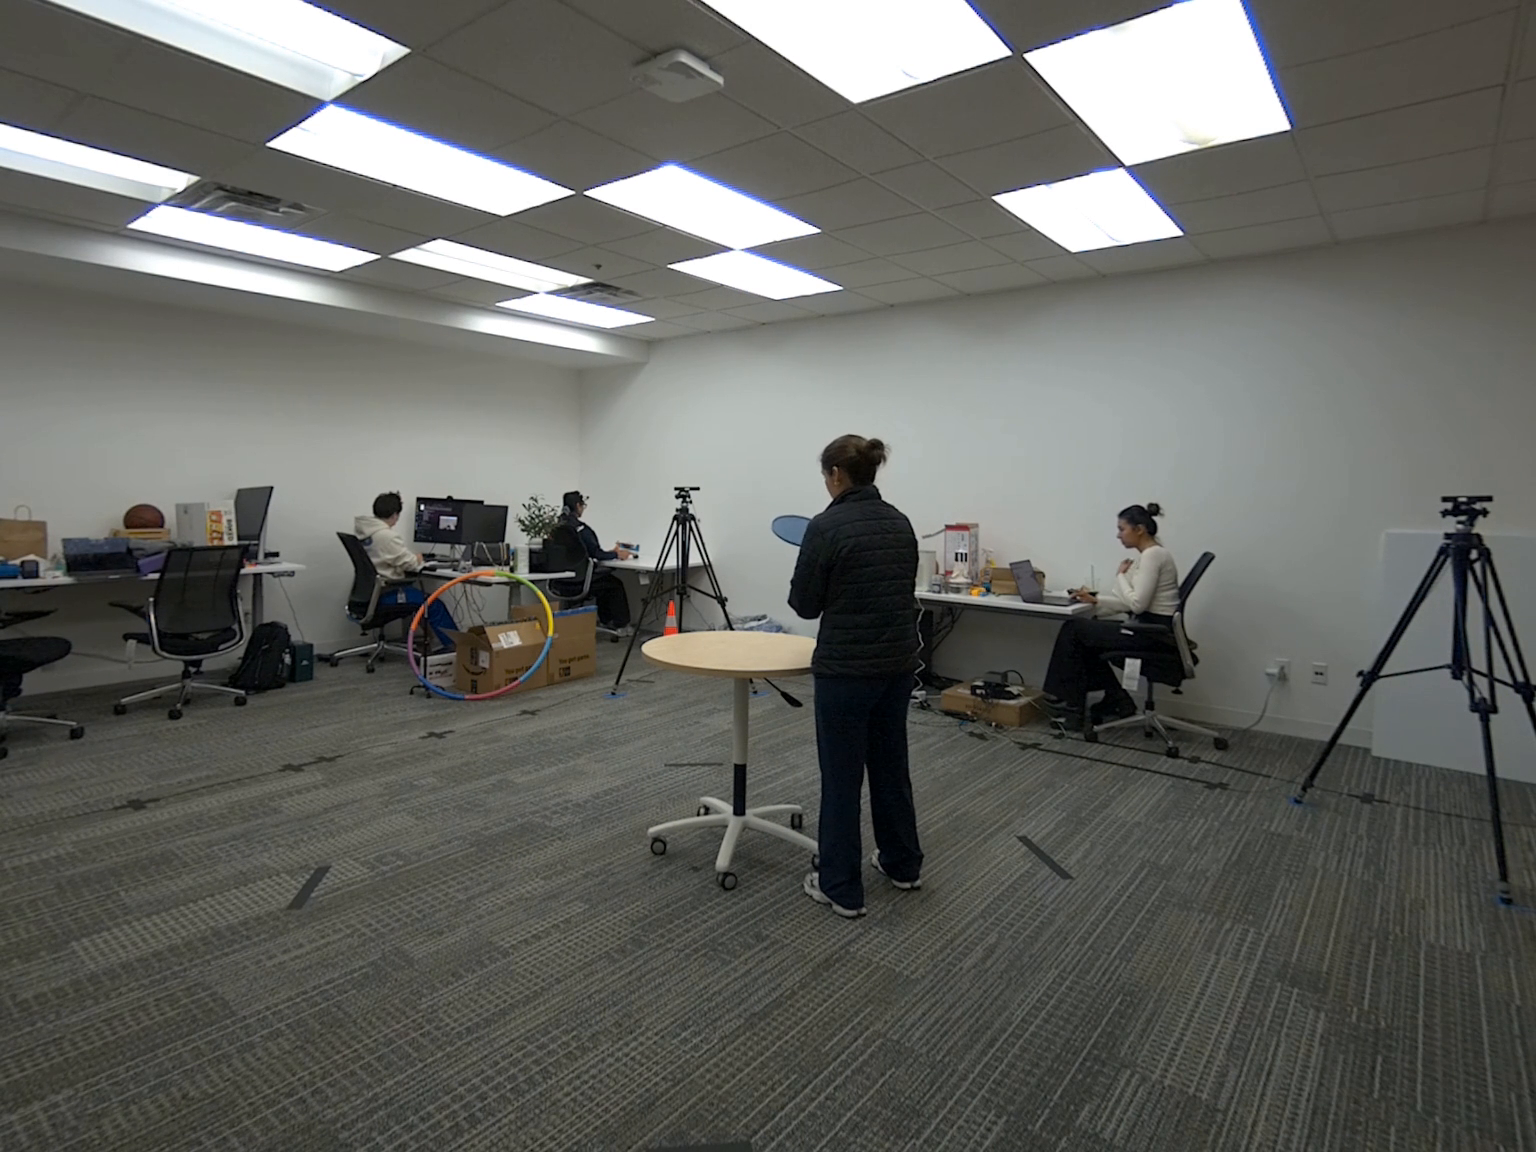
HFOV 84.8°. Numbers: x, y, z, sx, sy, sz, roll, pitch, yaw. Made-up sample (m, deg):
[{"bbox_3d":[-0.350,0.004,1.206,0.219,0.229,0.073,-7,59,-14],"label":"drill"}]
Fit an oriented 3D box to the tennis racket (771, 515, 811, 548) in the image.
[{"bbox_3d":[0.203,-0.142,3.237,0.209,0.031,0.452,-14,35,-29],"label":"tennis racket"}]
